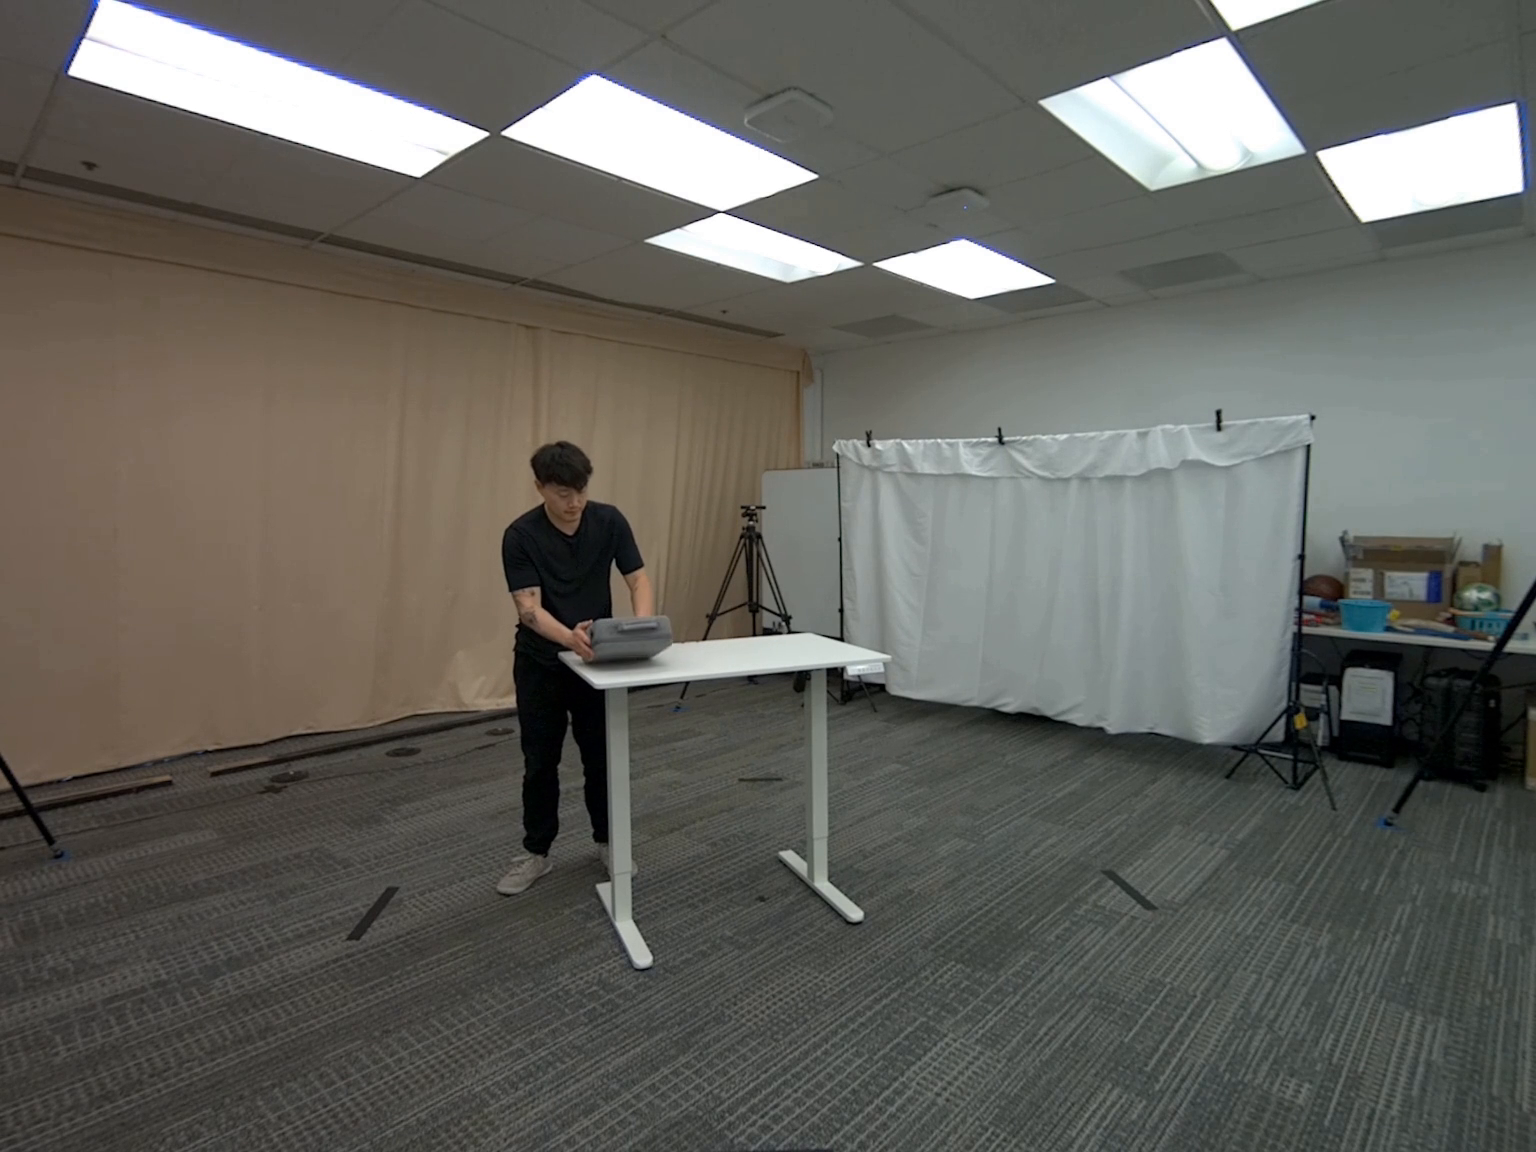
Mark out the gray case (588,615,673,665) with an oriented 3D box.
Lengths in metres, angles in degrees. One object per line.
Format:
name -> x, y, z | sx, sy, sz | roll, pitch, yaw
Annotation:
gray case -> -0.464, 0.203, 2.711 | 0.250, 0.105, 0.265 | -1, -13, -26
